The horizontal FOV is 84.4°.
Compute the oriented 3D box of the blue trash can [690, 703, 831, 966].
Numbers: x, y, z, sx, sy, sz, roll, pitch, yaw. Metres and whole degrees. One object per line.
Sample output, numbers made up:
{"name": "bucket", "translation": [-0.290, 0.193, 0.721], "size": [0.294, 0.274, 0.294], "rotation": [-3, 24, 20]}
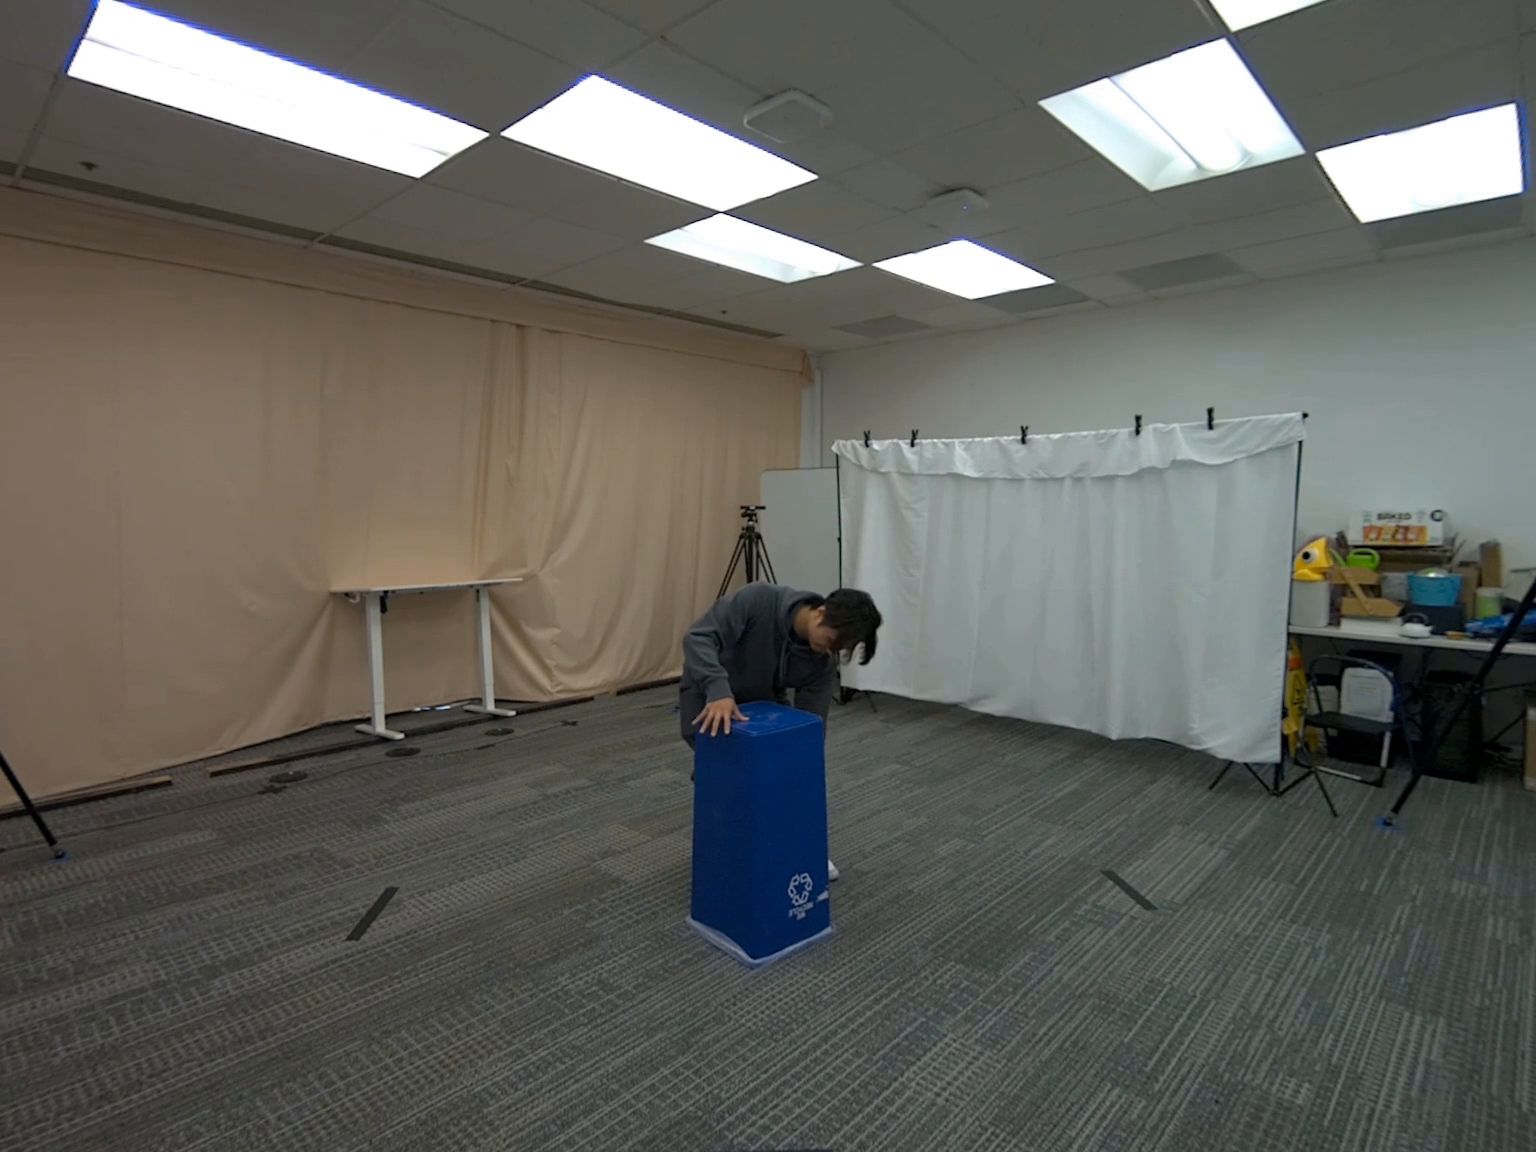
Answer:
{"name": "blue trash can", "translation": [-0.025, 0.813, 2.753], "size": [0.363, 0.711, 0.391], "rotation": [-4, 6, -41]}
